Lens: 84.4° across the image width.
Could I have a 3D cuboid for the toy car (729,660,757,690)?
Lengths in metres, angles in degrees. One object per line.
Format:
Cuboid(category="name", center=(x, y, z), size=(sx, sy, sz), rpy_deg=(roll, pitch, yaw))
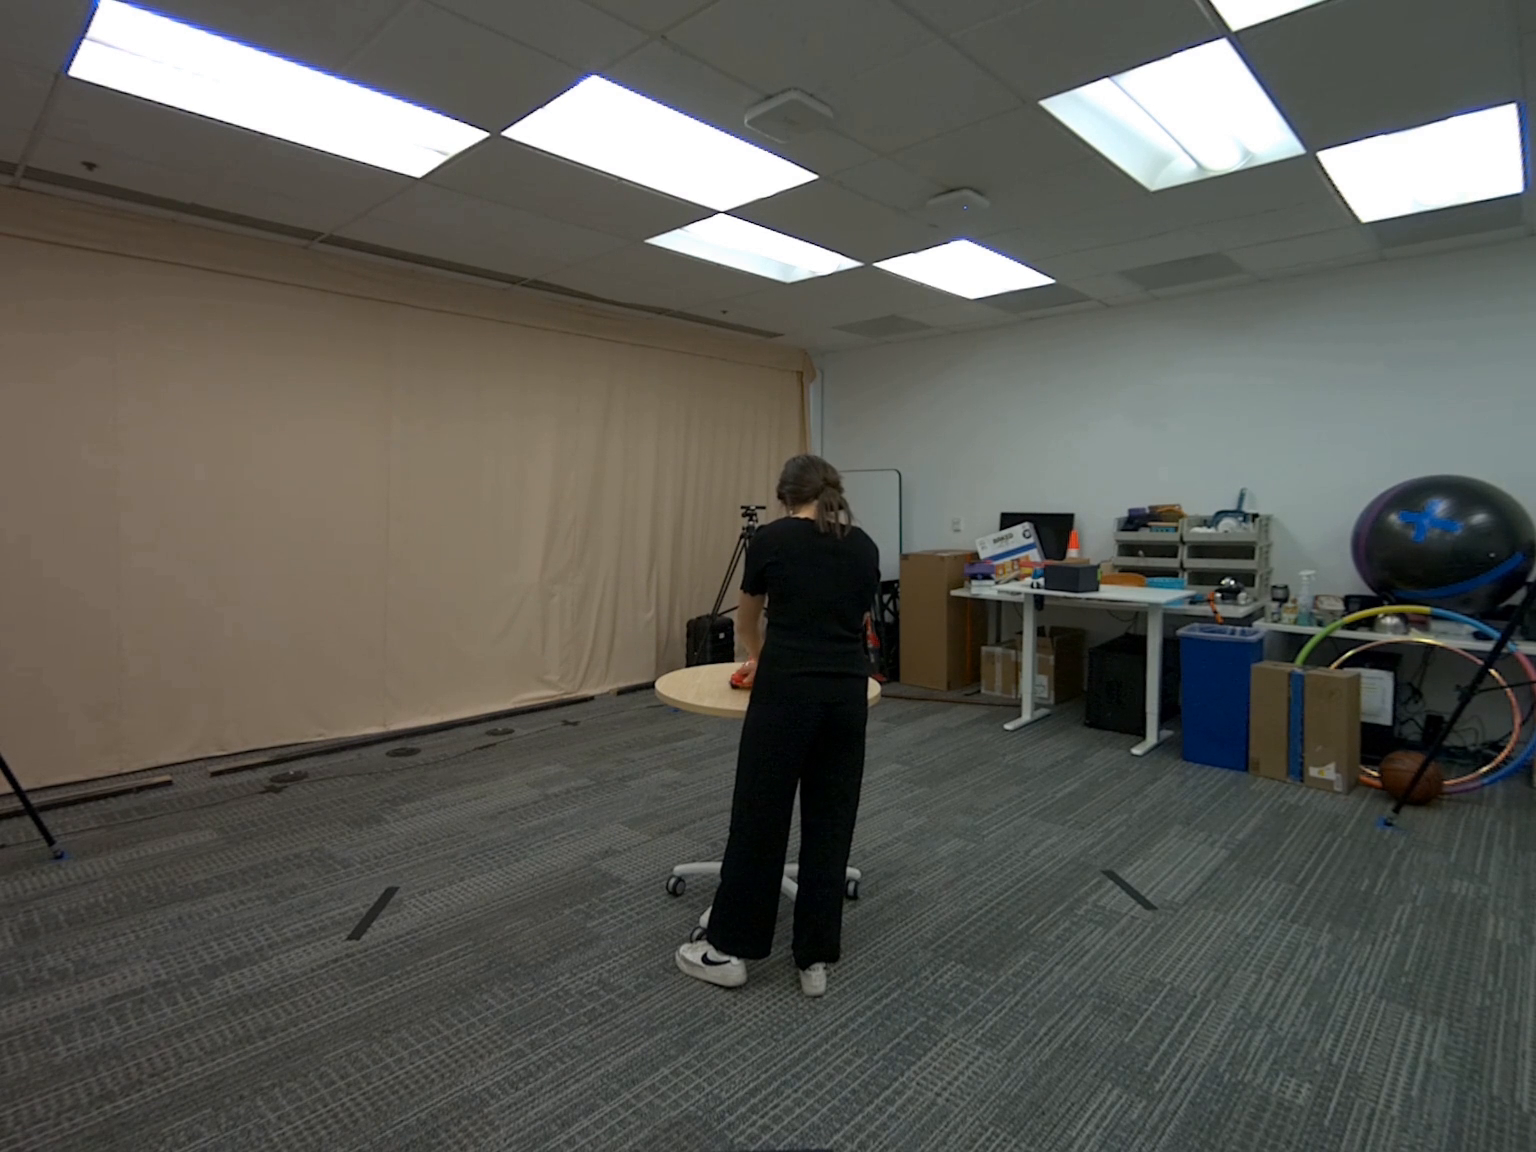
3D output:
Cuboid(category="toy car", center=(-0.040, 0.333, 2.882), size=(0.132, 0.082, 0.254), rpy_deg=(0, 19, 12))
